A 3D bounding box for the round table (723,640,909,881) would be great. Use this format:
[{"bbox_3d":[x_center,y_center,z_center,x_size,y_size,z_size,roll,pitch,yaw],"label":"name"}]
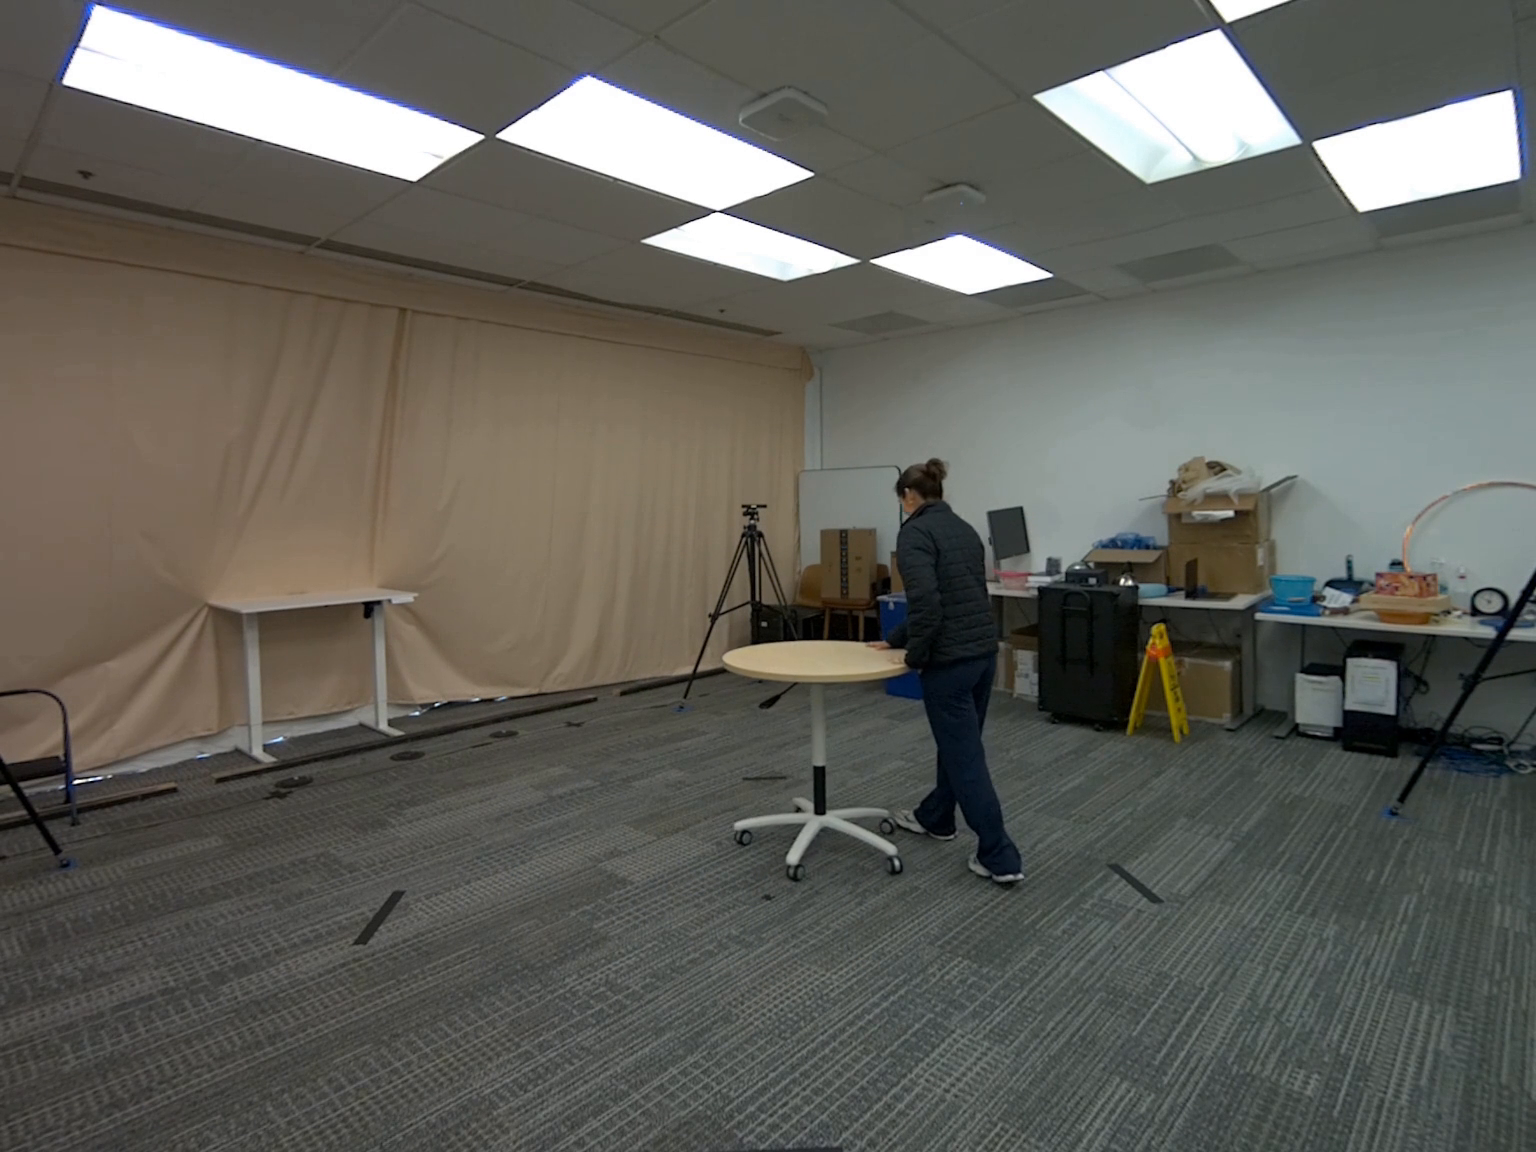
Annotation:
[{"bbox_3d":[0.233,0.712,3.398,0.784,0.785,0.788,-1,4,-2],"label":"round table"}]
